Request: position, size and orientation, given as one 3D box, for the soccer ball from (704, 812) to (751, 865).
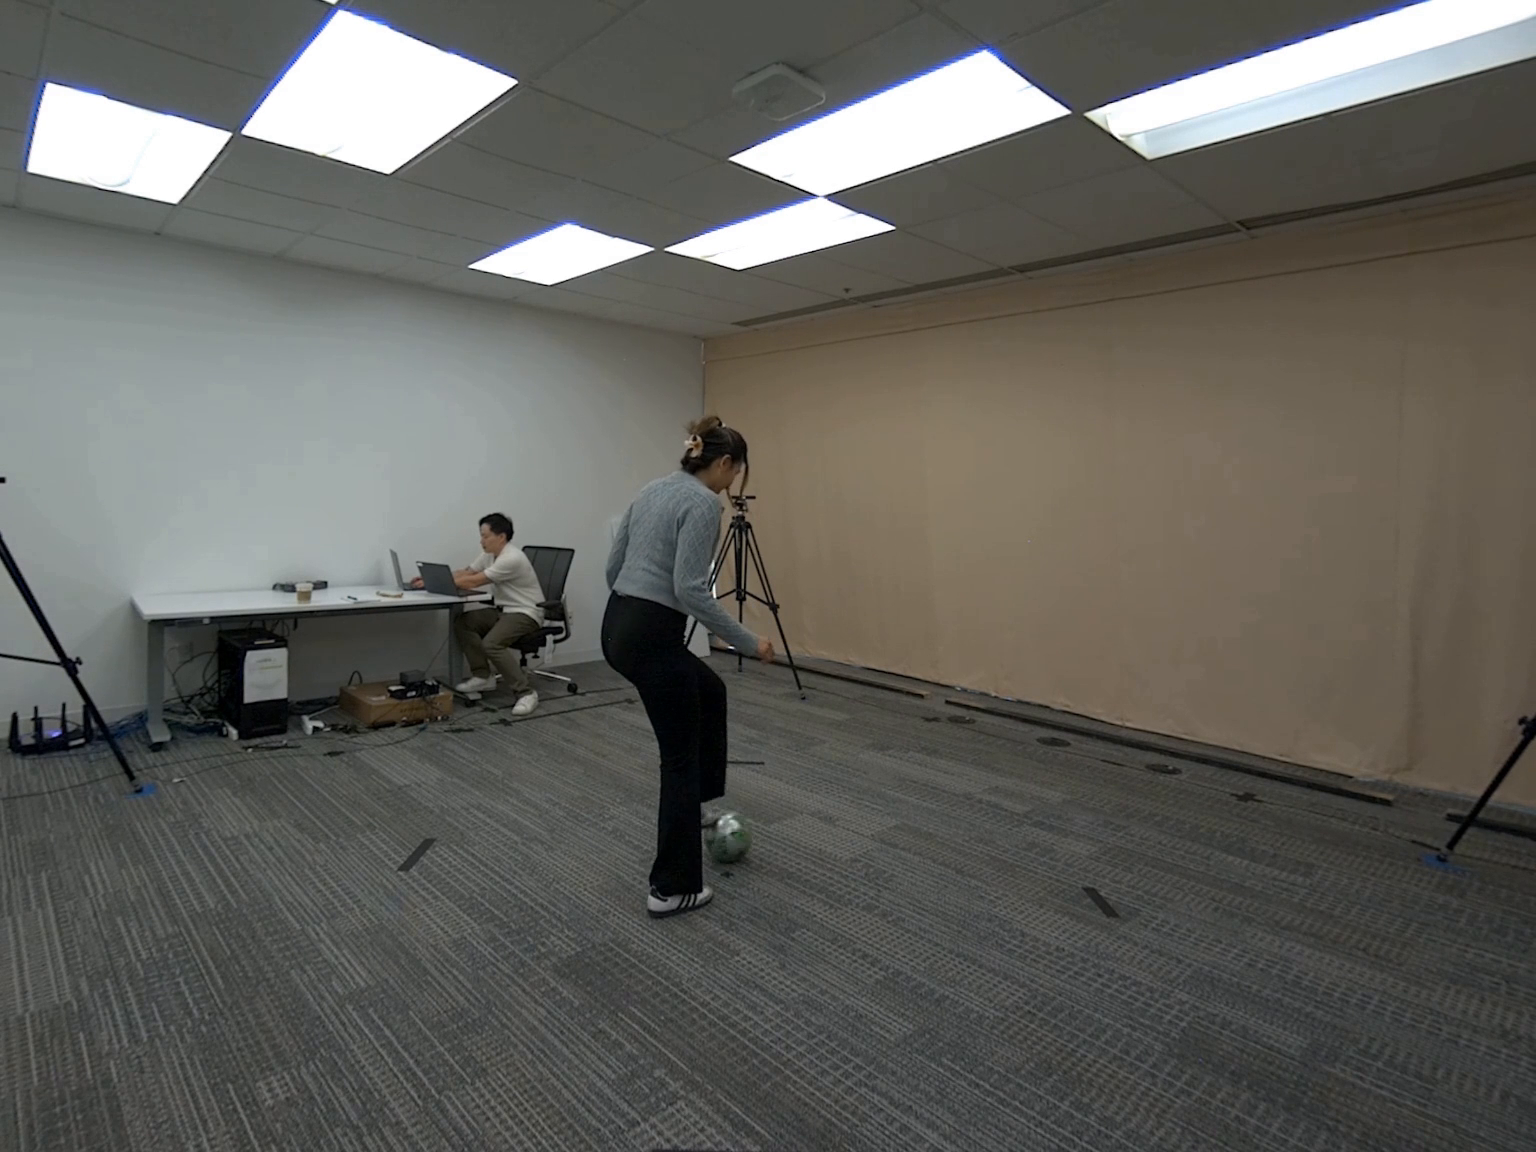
[{"bbox_3d":[-0.167,0.997,3.220,0.187,0.187,0.188,1,4,-1],"label":"soccer ball"}]
